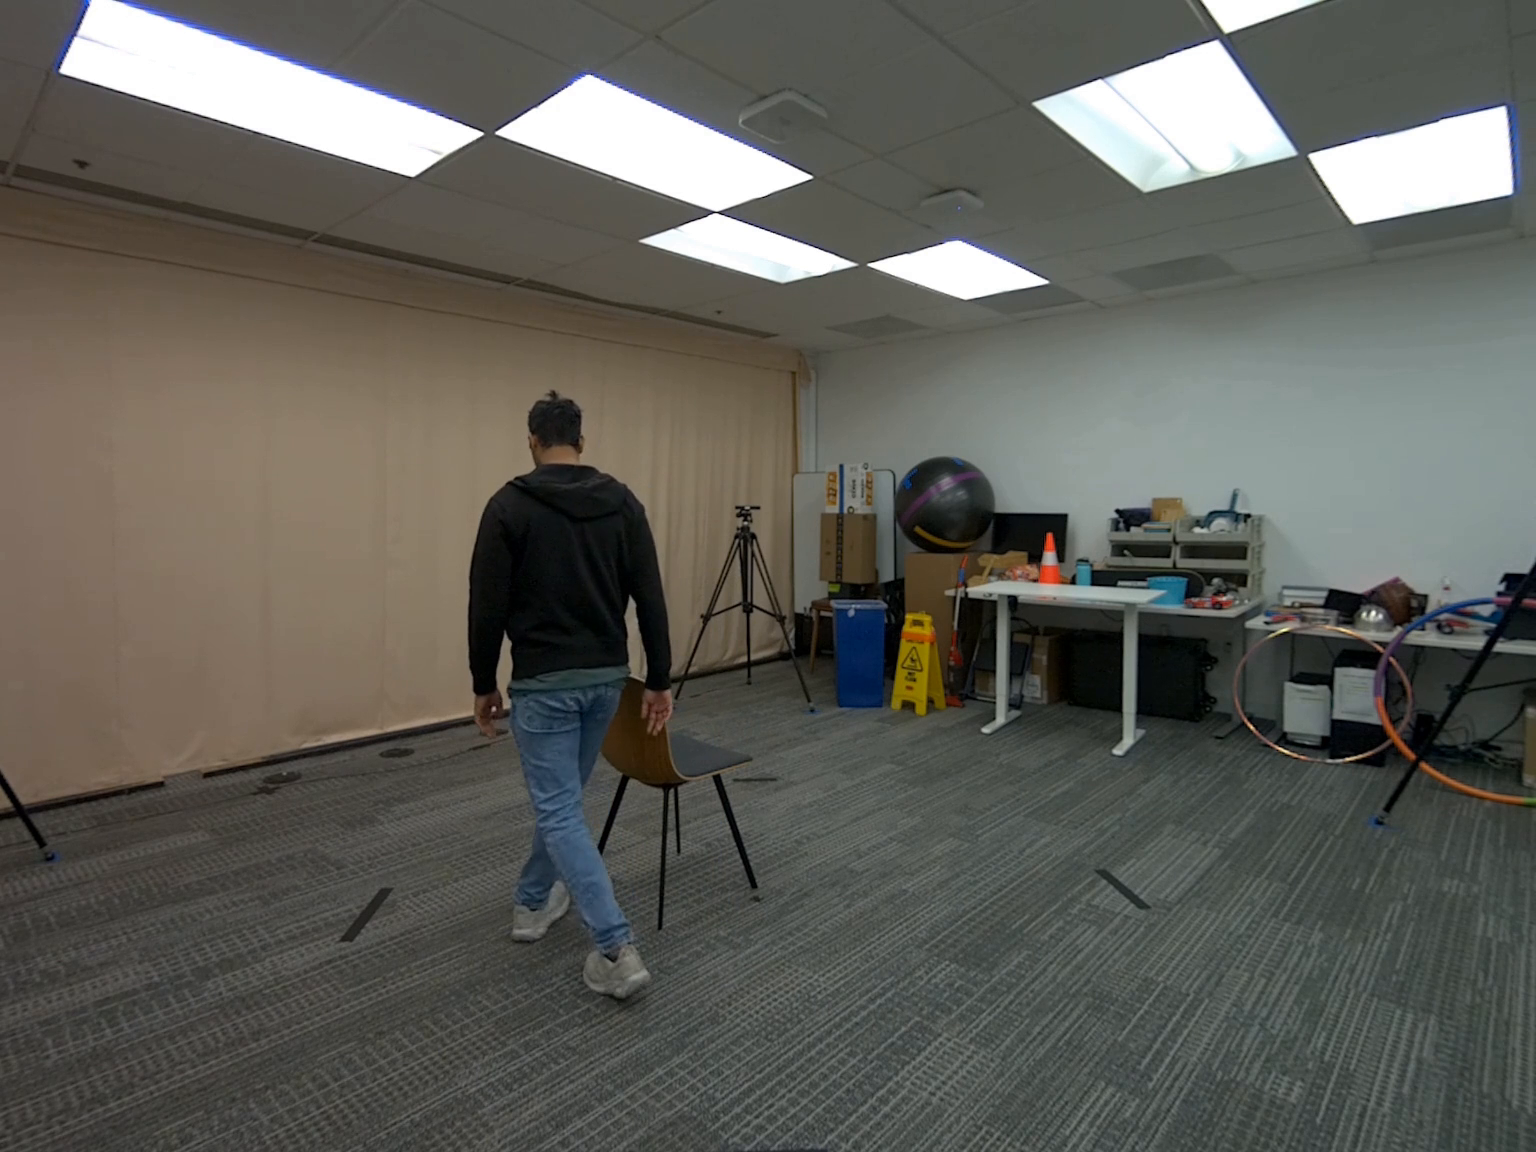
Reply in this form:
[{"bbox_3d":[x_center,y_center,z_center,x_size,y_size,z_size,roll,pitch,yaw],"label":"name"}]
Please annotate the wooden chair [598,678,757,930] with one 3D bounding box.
[{"bbox_3d":[-0.347,0.715,3.056,0.508,0.874,0.494,-9,8,-43],"label":"wooden chair"}]
